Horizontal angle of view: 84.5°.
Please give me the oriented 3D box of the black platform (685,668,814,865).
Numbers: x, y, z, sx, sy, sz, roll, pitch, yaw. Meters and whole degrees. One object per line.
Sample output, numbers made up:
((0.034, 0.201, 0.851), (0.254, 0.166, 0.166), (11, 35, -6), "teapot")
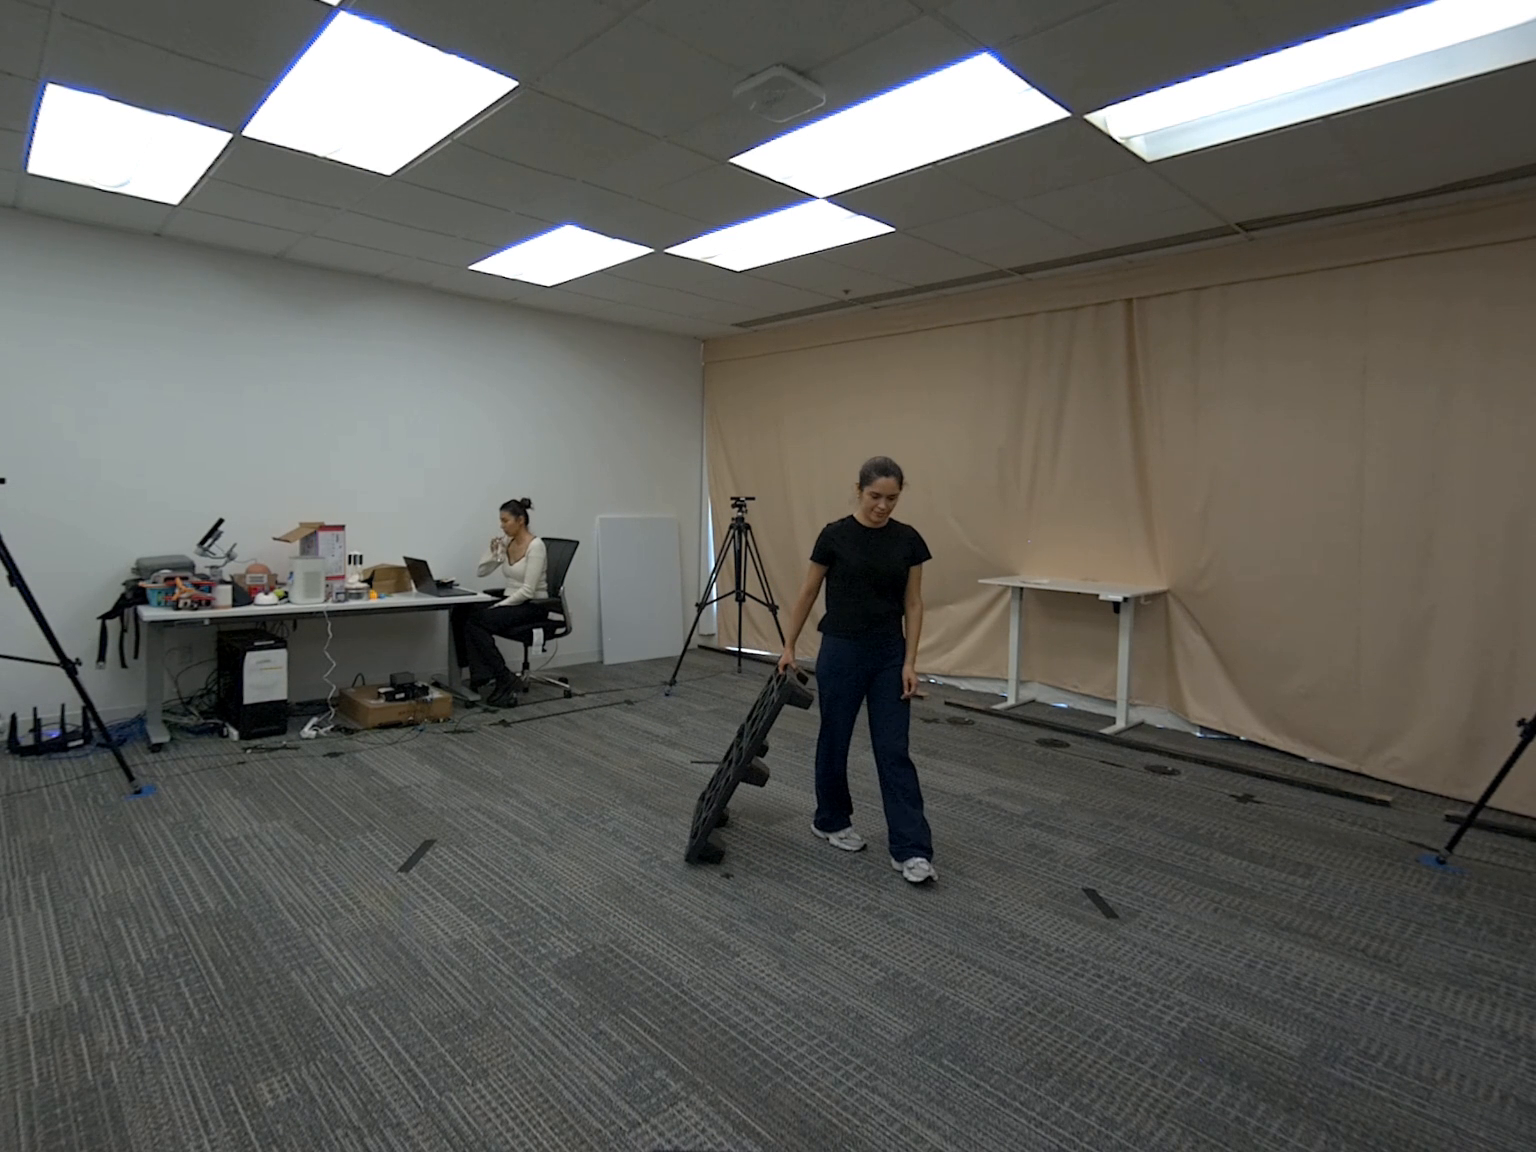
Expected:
((-0.068, 0.729, 3.389), (0.143, 0.805, 0.607), (28, 3, -4), "black platform")
